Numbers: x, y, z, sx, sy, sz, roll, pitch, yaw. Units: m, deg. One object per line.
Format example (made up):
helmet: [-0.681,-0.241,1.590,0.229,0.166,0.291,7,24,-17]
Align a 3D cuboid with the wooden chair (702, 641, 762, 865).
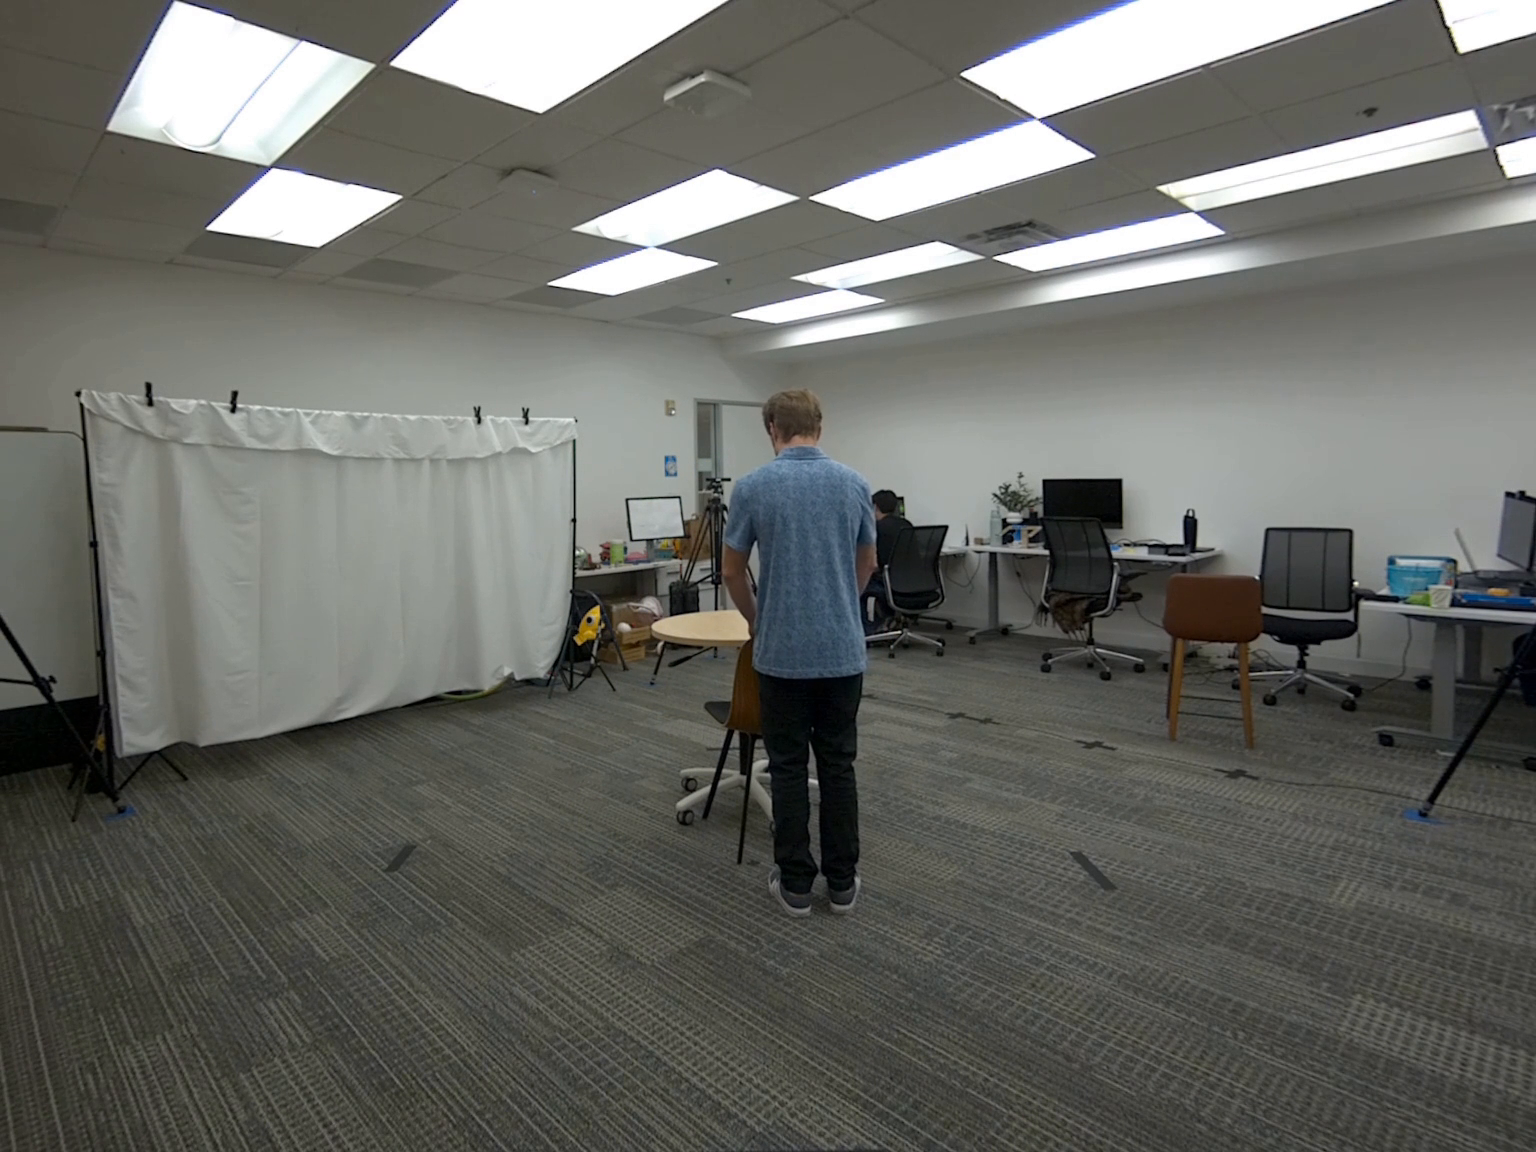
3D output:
wooden chair: [0.018,0.584,3.341,0.470,0.871,0.536,-3,9,-19]
